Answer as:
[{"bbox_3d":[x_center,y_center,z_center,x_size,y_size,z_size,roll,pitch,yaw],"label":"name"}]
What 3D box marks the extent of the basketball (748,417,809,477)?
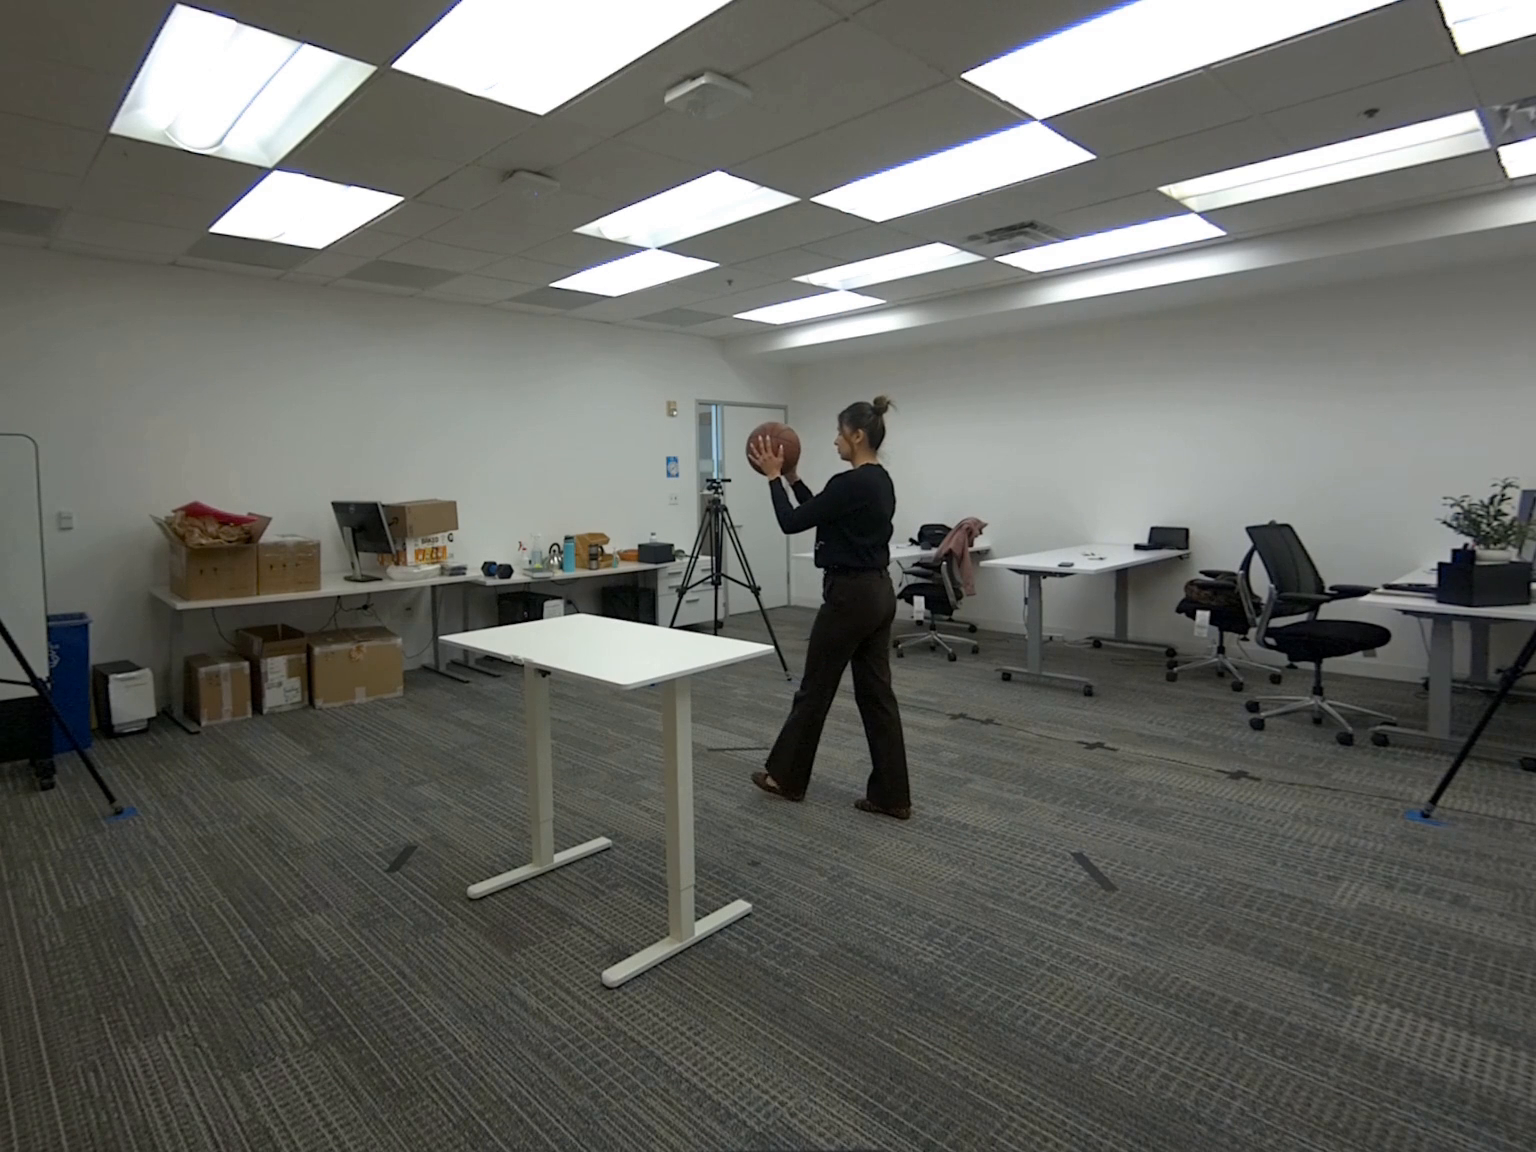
[{"bbox_3d":[0.039,-0.549,3.659,0.236,0.235,0.237,-1,5,-2],"label":"basketball"}]
